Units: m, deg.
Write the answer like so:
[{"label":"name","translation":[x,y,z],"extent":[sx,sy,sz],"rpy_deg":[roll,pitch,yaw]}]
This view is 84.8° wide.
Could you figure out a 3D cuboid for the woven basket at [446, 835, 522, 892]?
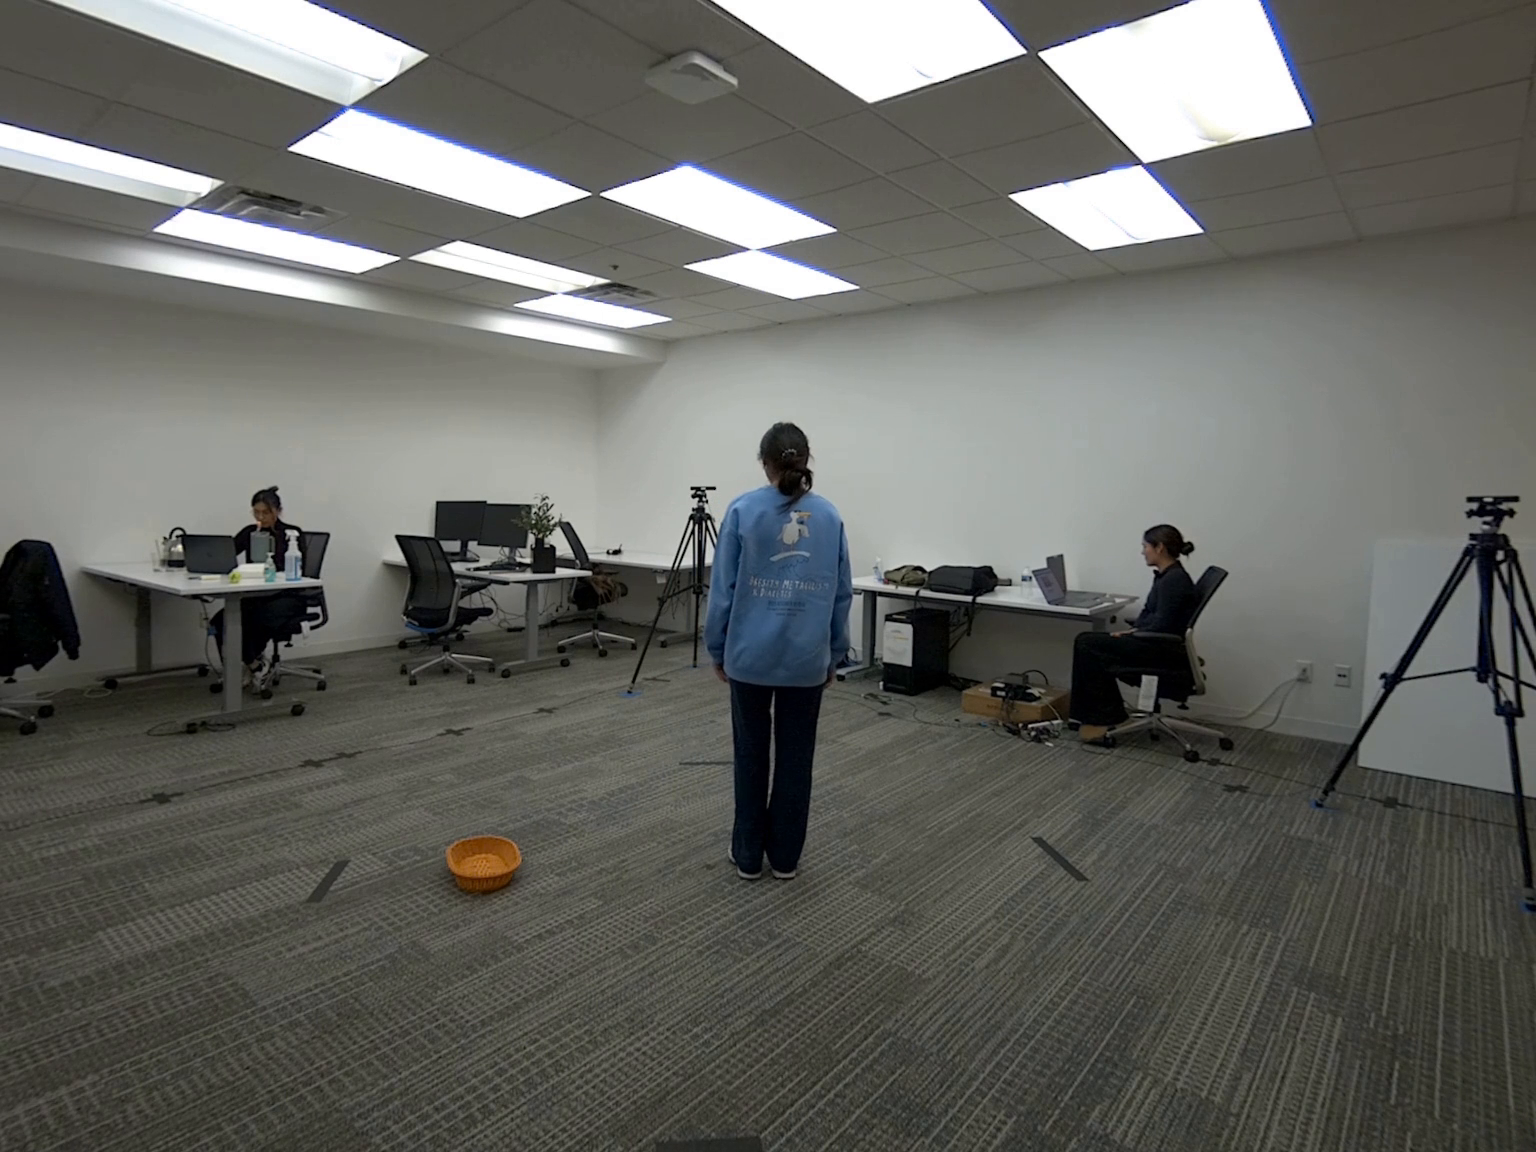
[{"label":"woven basket","translation":[-1.024,1.024,3.029],"extent":[0.246,0.073,0.360],"rpy_deg":[0,6,-26]}]
